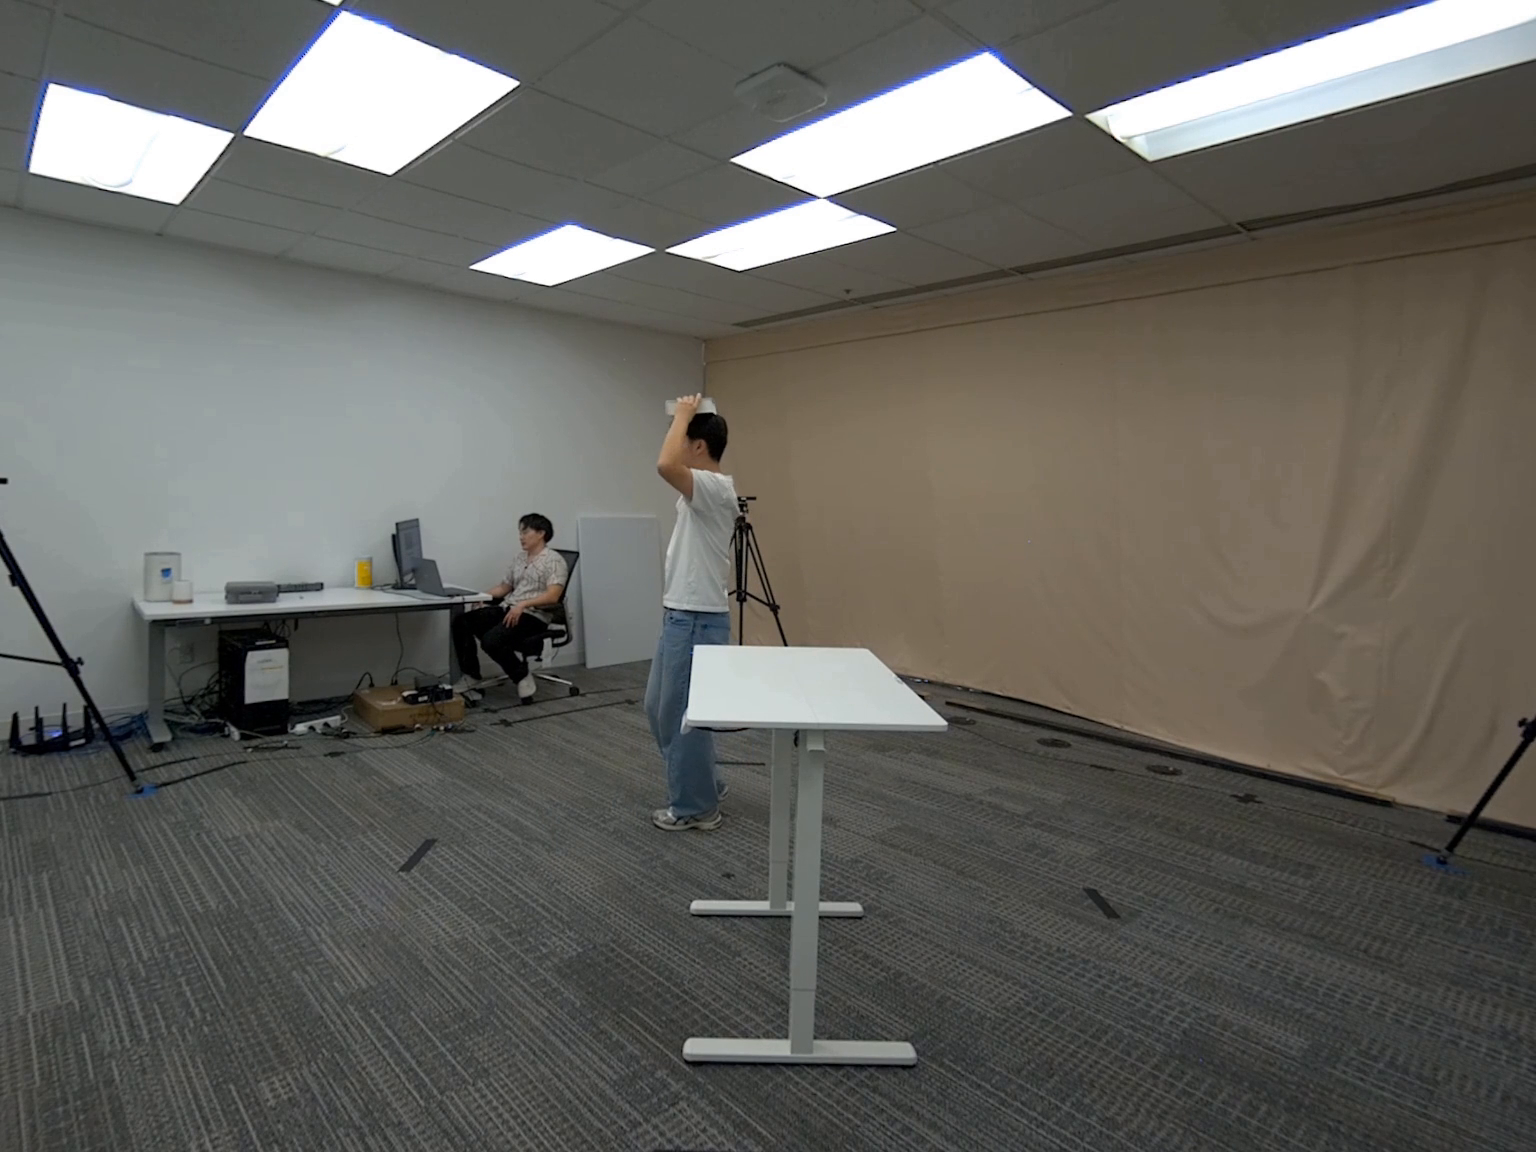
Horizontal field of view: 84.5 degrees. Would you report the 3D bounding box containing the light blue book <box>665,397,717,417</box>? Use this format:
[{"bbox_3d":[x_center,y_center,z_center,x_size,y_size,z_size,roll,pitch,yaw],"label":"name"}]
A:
[{"bbox_3d":[-0.328,-0.691,3.497,0.191,0.059,0.262,-5,6,1],"label":"light blue book"}]
